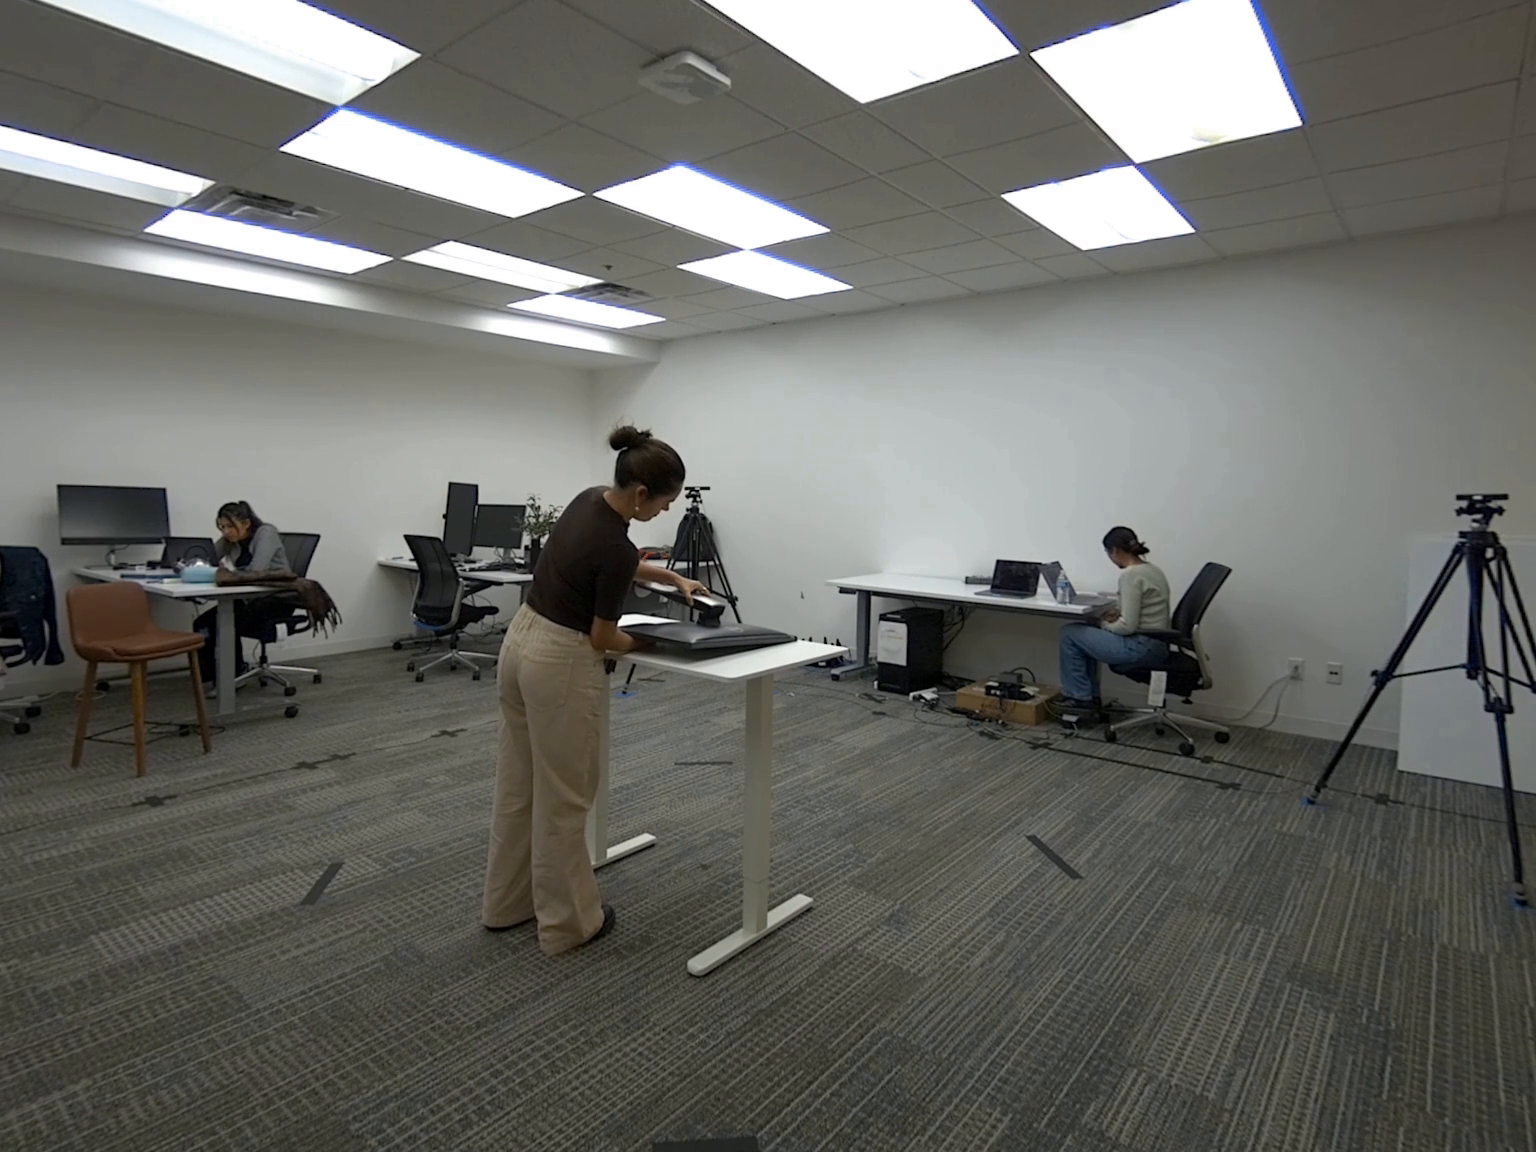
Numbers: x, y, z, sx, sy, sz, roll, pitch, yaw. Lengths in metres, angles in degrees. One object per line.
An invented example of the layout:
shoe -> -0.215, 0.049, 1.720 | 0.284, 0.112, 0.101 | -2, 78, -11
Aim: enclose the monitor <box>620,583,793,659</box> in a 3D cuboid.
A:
monitor -> -0.266, 0.132, 2.816 | 0.544, 0.185, 0.522 | 25, 18, 37
